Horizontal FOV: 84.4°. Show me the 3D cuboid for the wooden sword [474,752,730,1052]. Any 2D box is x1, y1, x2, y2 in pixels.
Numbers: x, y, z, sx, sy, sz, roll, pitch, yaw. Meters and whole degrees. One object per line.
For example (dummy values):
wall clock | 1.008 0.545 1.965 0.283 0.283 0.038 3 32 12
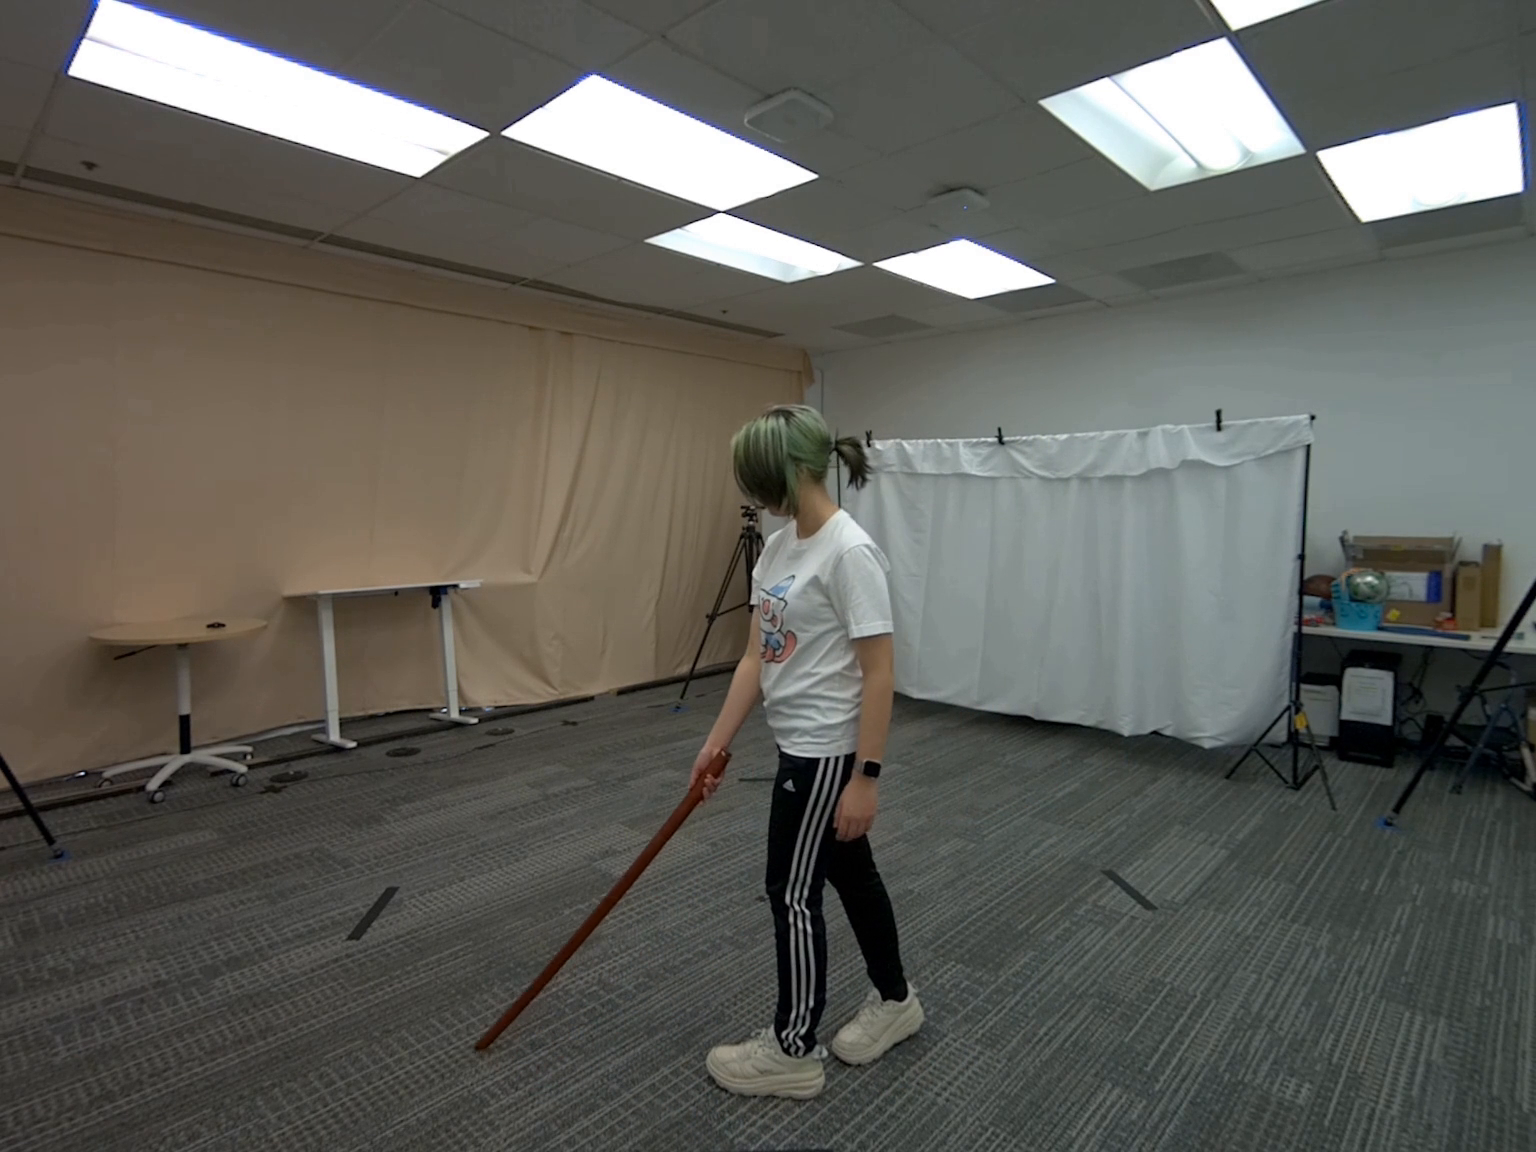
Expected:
wooden sword | -0.422 0.845 2.104 0.025 1.026 0.050 43 4 24
